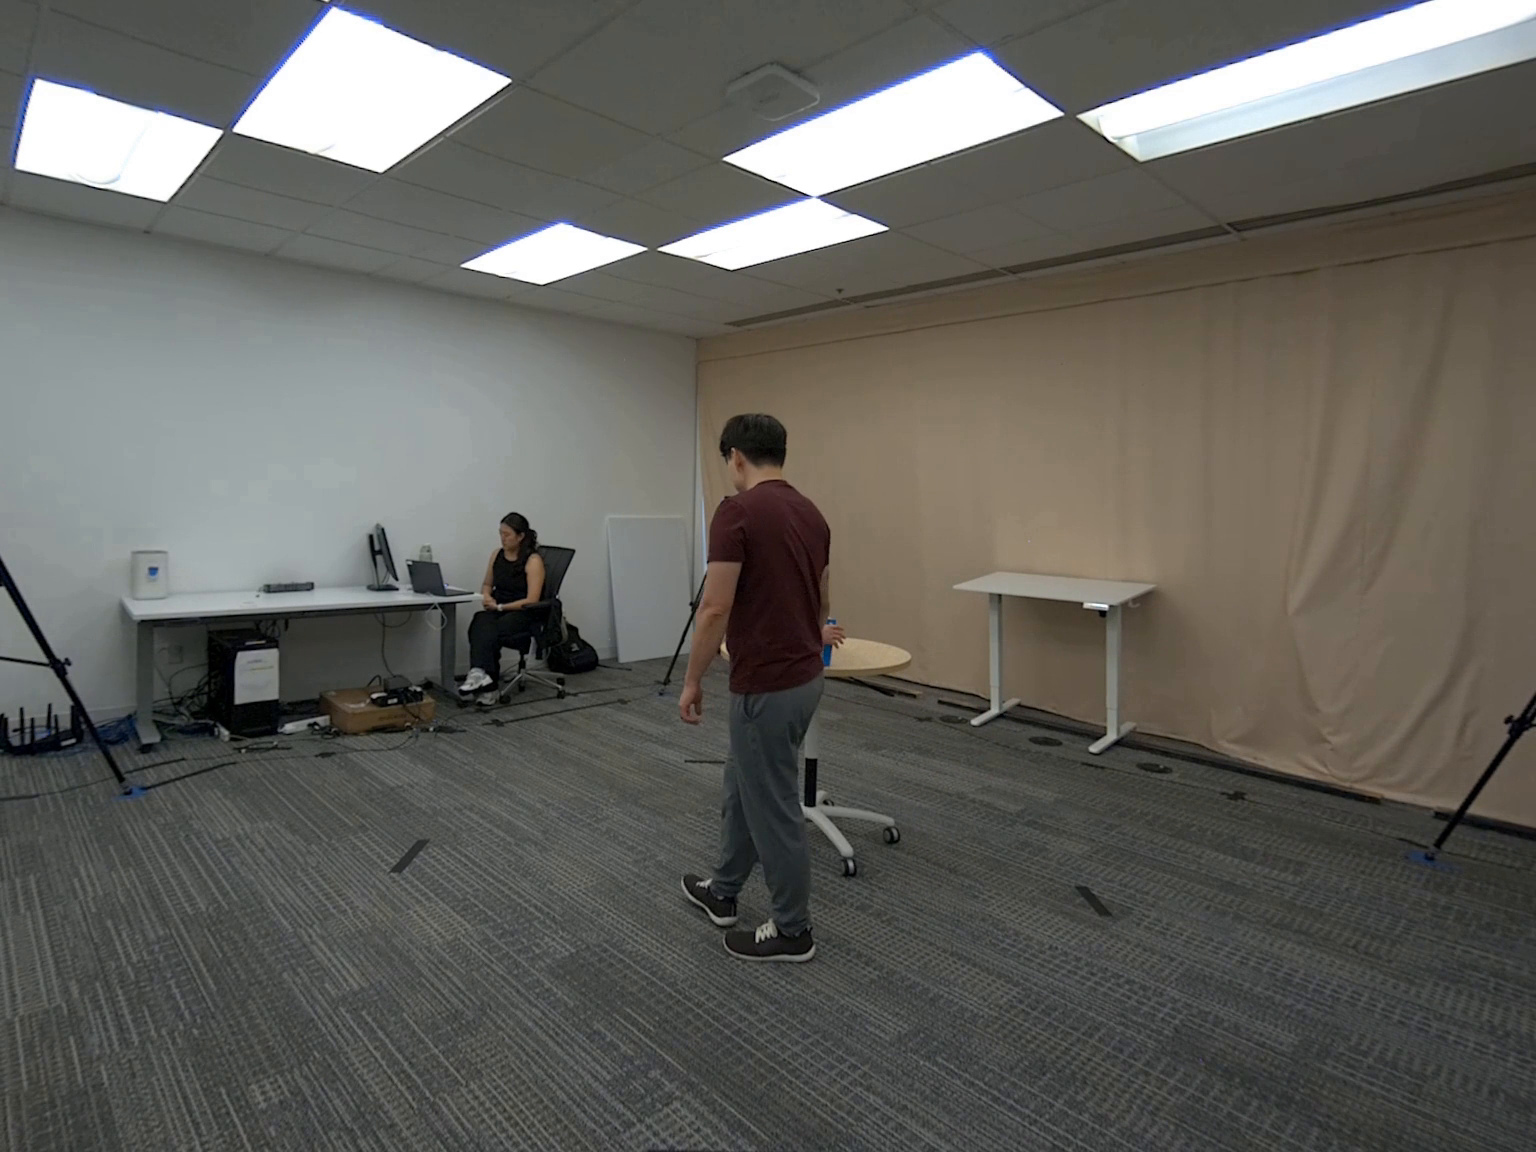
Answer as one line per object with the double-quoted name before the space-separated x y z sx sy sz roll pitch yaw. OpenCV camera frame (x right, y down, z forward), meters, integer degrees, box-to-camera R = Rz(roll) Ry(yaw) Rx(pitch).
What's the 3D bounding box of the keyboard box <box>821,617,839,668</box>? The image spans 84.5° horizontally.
"keyboard box" 0.167 0.227 3.302 0.058 0.176 0.441 10 3 -12
